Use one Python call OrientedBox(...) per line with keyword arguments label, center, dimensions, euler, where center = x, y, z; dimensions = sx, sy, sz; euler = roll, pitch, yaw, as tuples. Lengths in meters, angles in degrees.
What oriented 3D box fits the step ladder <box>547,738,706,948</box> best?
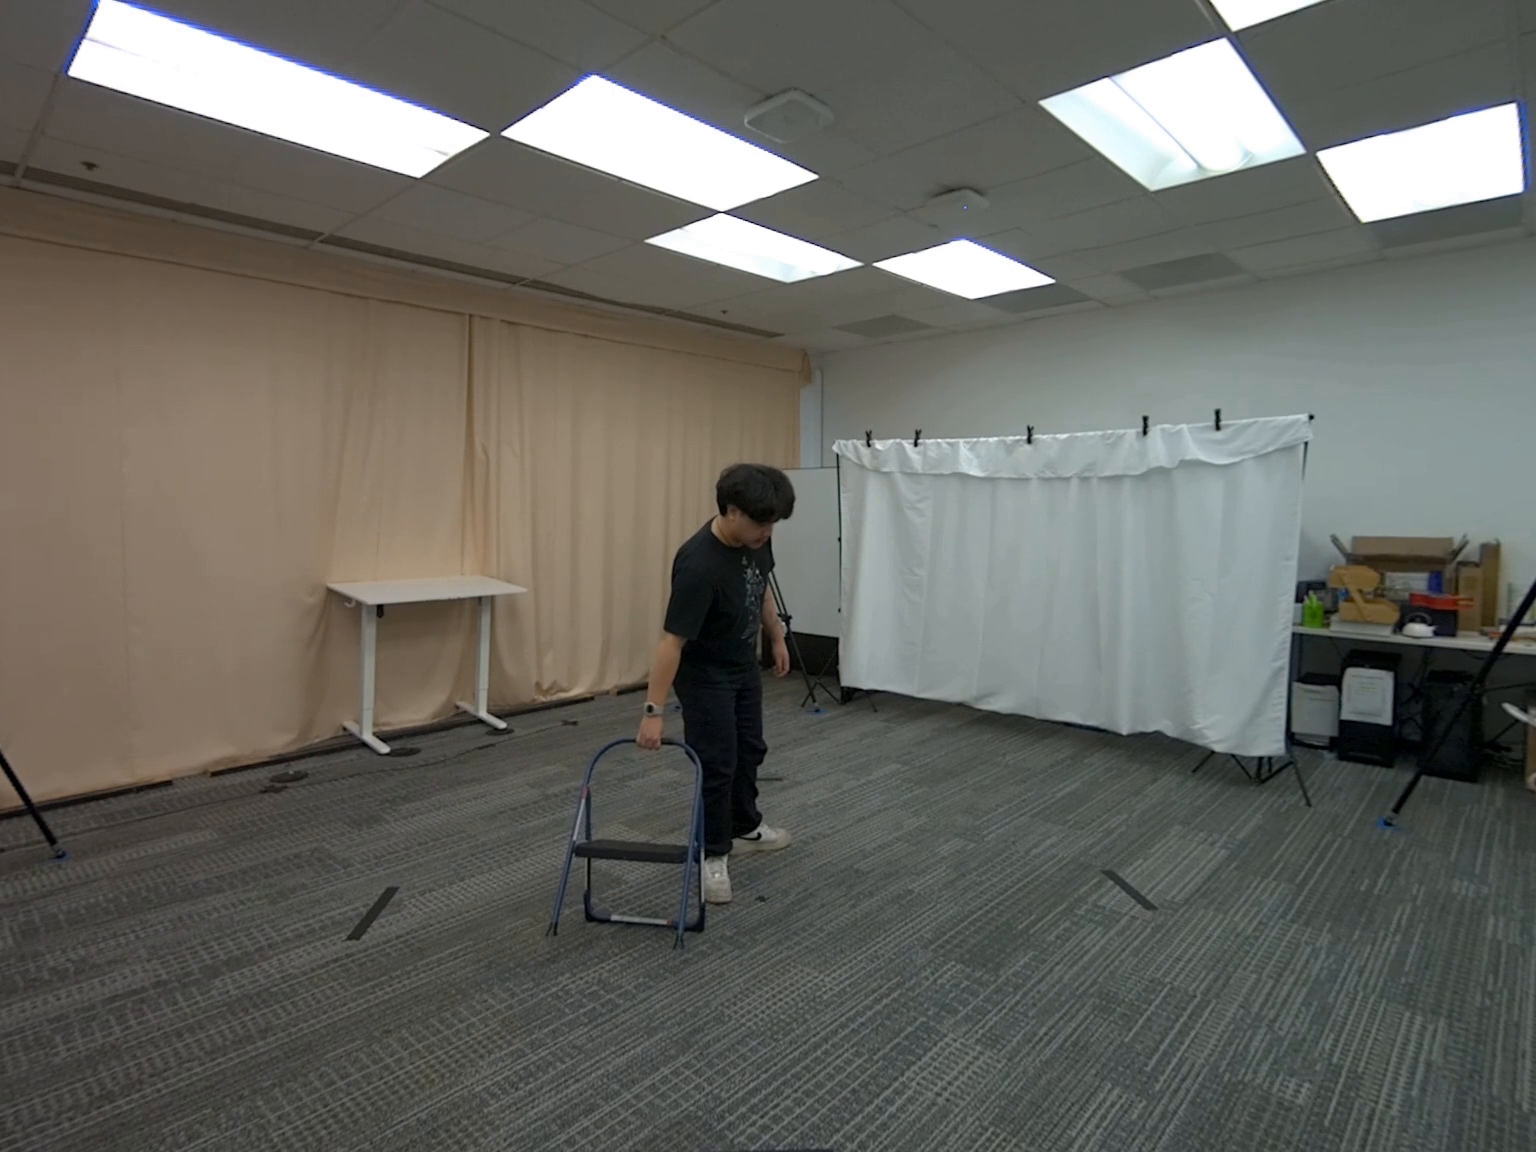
OrientedBox(label="step ladder", center=(-0.422, 0.834, 2.729), dimensions=(0.436, 0.611, 0.342), euler=(0, -15, 11))
